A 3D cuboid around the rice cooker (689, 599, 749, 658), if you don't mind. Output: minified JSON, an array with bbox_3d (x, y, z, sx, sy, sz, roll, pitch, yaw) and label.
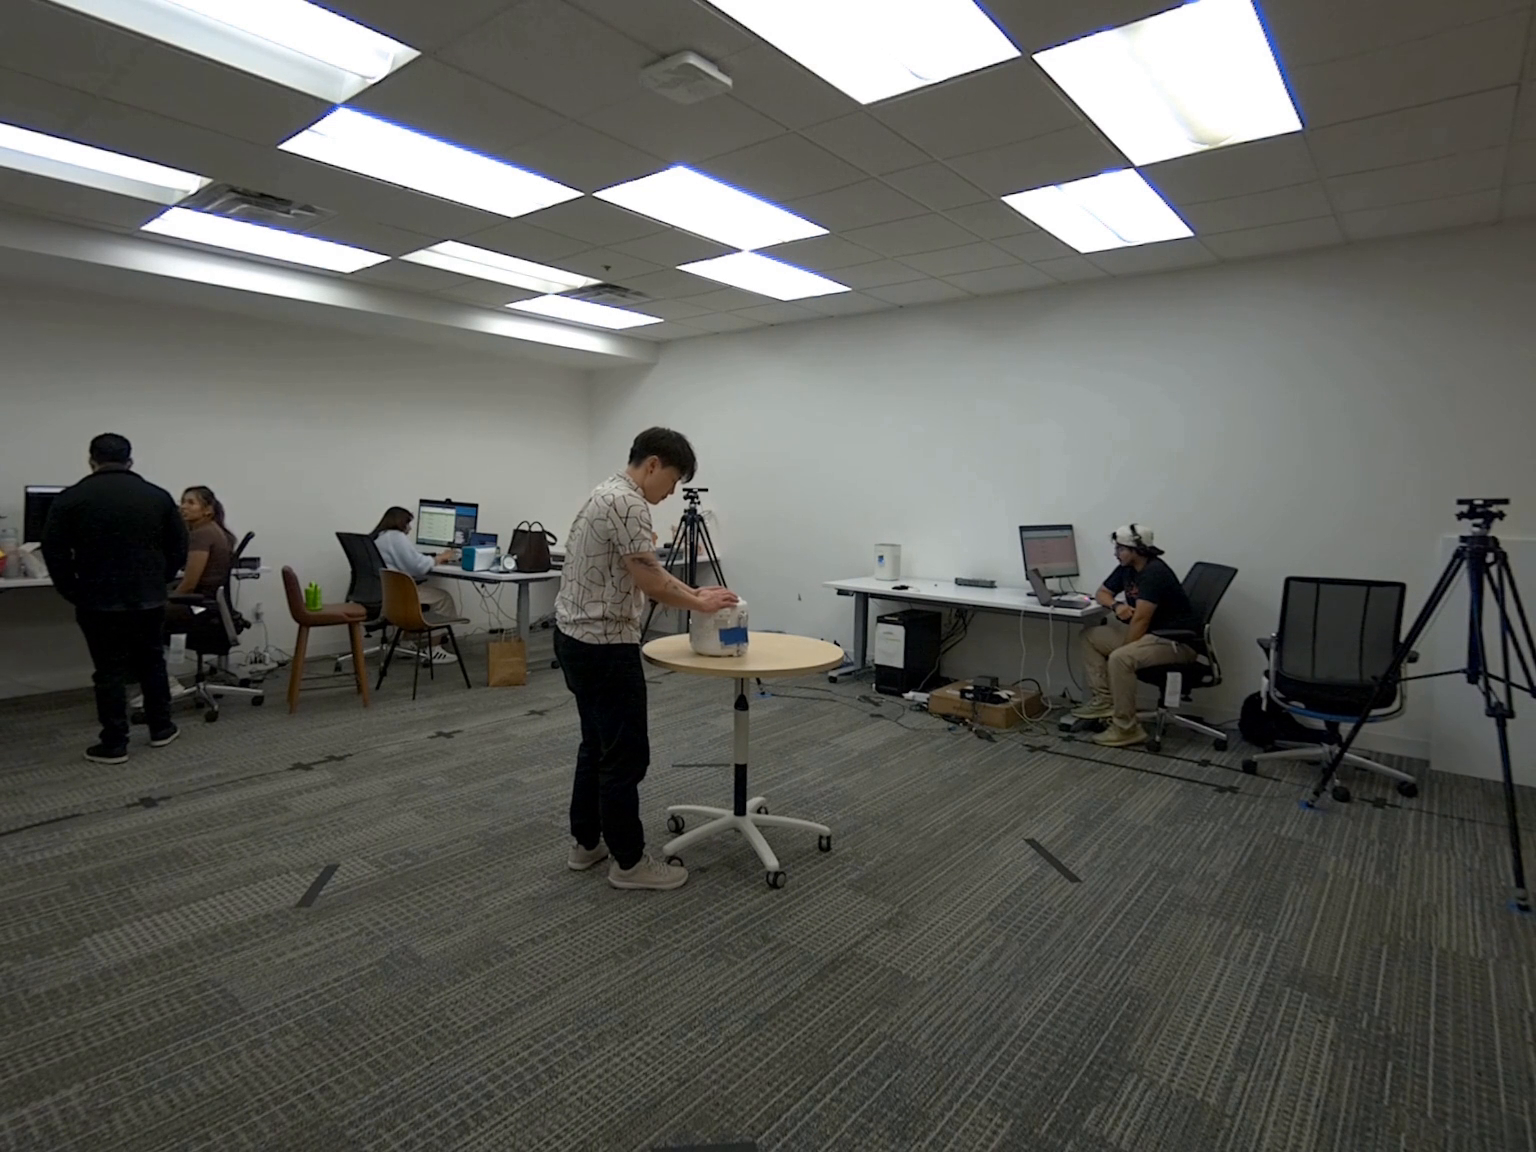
[{"bbox_3d":[-0.194,0.172,3.148,0.216,0.232,0.222,1,3,-5],"label":"rice cooker"}]
